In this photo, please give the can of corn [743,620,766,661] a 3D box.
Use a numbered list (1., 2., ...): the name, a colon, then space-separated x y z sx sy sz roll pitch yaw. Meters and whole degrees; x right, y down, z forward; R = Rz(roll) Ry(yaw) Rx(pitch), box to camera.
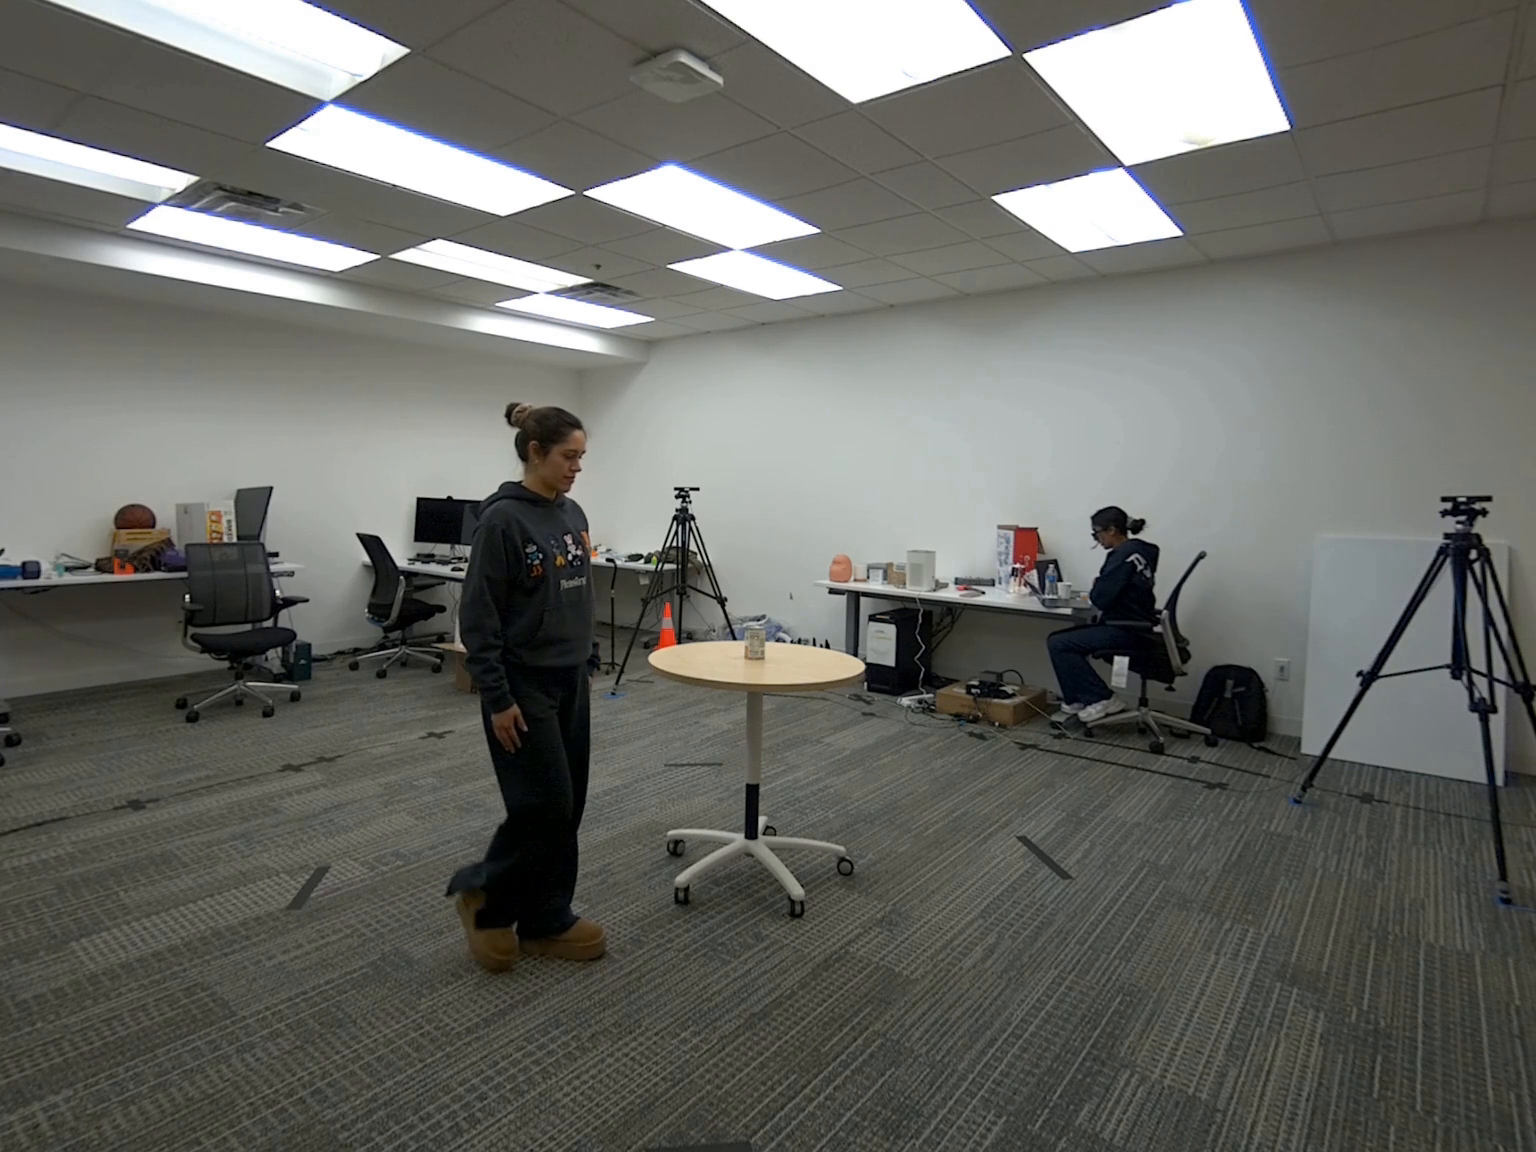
1. can of corn: -0.050 0.234 3.048 0.074 0.110 0.074 -1 4 -2
